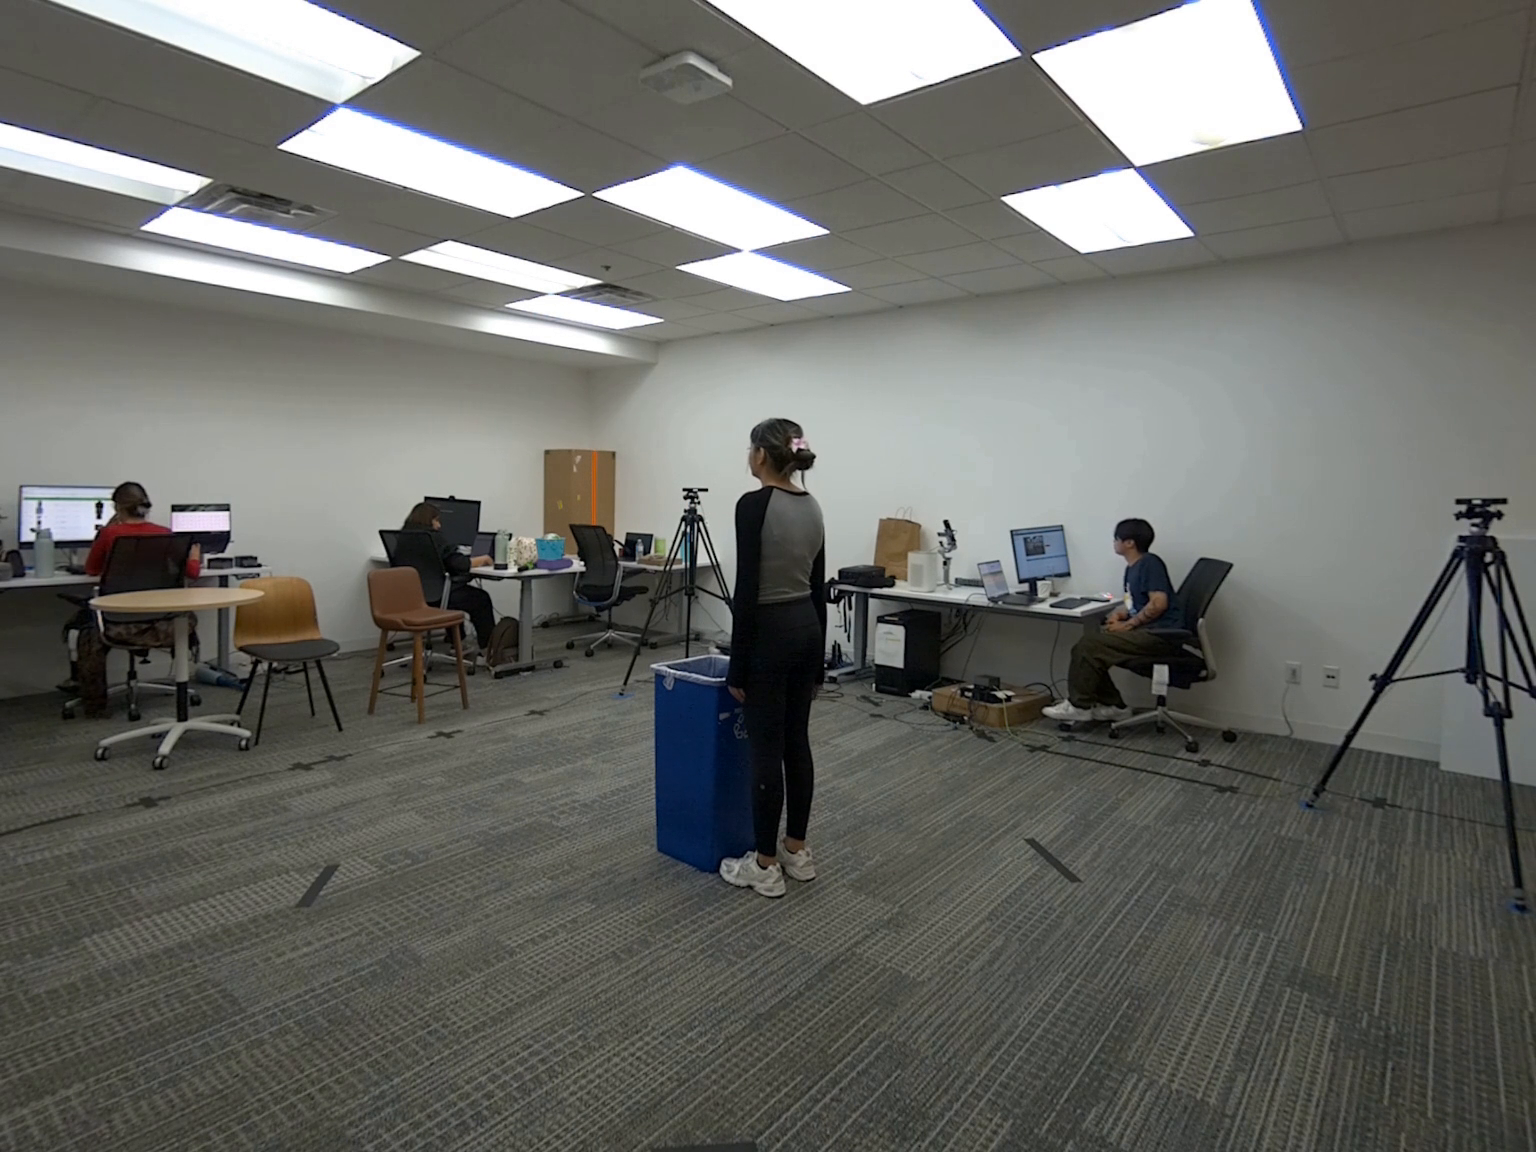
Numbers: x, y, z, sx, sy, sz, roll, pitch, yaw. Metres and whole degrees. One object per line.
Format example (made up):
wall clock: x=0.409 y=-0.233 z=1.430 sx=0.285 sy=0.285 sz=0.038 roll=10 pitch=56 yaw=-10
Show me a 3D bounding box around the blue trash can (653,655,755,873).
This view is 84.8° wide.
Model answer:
blue trash can: x=-0.225 y=0.696 z=3.269 sx=0.391 sy=0.711 sz=0.363 roll=4 pitch=4 yaw=40
